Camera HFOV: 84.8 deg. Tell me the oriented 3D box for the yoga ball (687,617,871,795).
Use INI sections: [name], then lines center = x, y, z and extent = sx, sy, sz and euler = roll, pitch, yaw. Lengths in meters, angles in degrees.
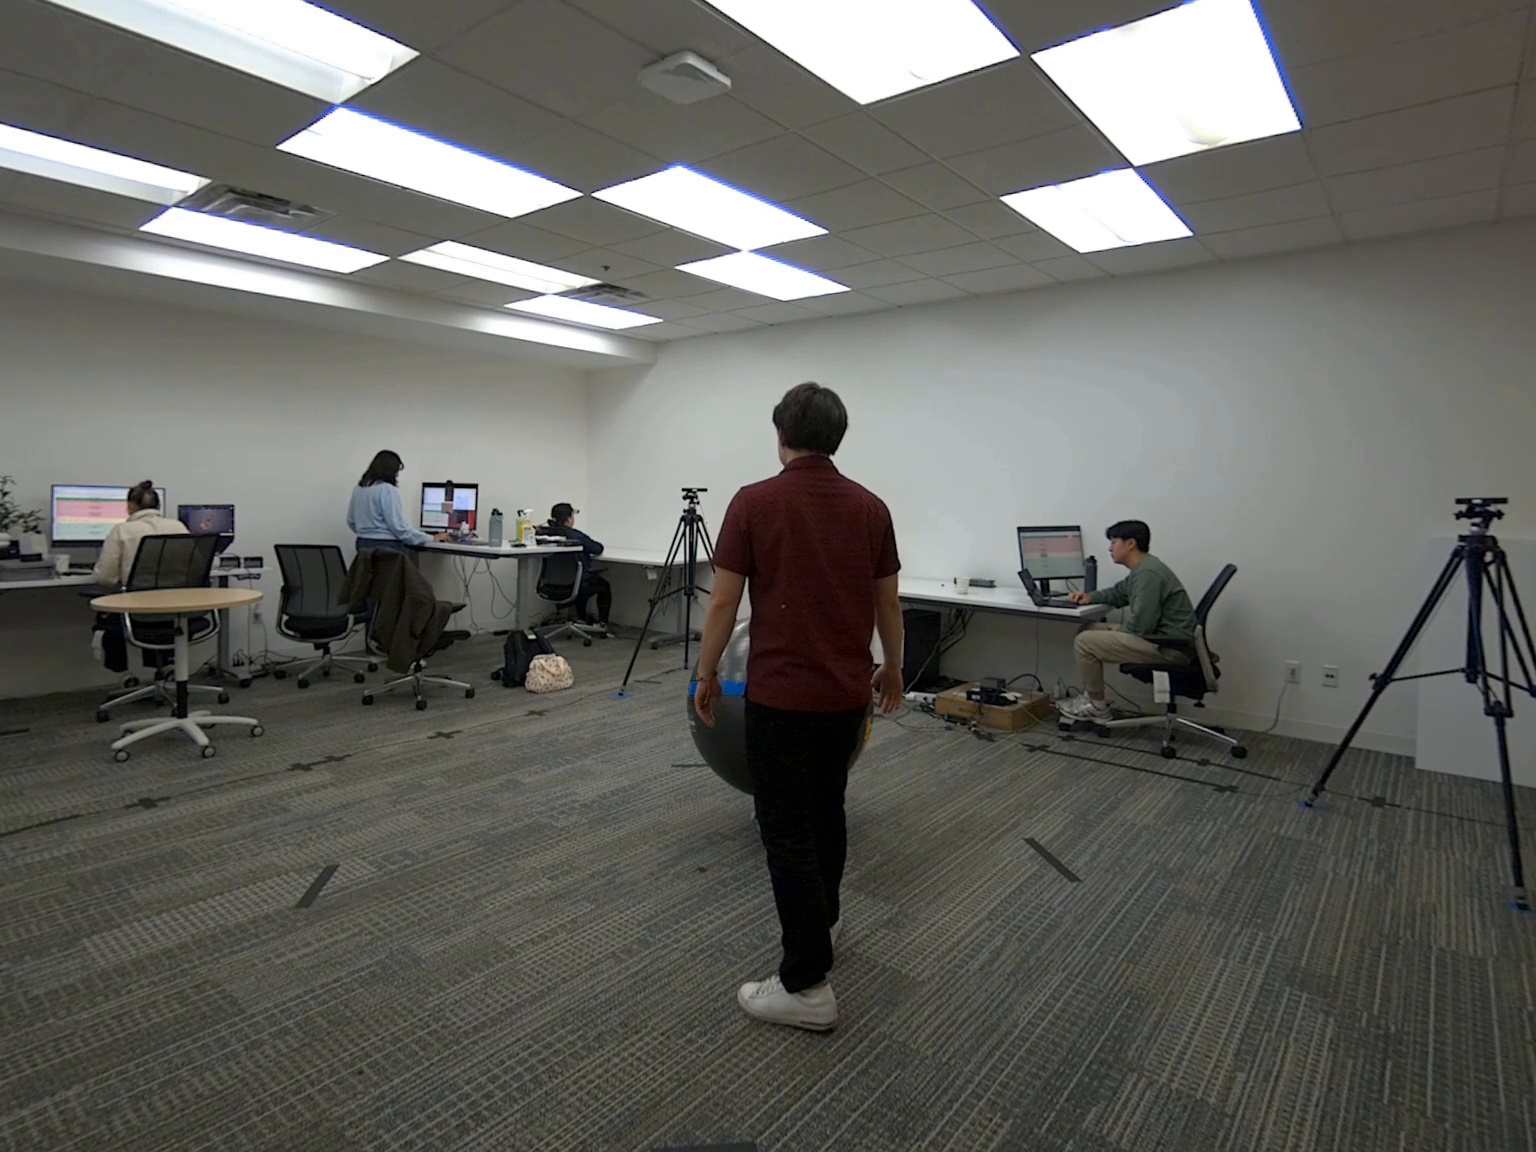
[yoga ball]
center = 0.039, 0.524, 3.485
extent = 0.757, 0.756, 0.762
euler = 1, 4, -2
